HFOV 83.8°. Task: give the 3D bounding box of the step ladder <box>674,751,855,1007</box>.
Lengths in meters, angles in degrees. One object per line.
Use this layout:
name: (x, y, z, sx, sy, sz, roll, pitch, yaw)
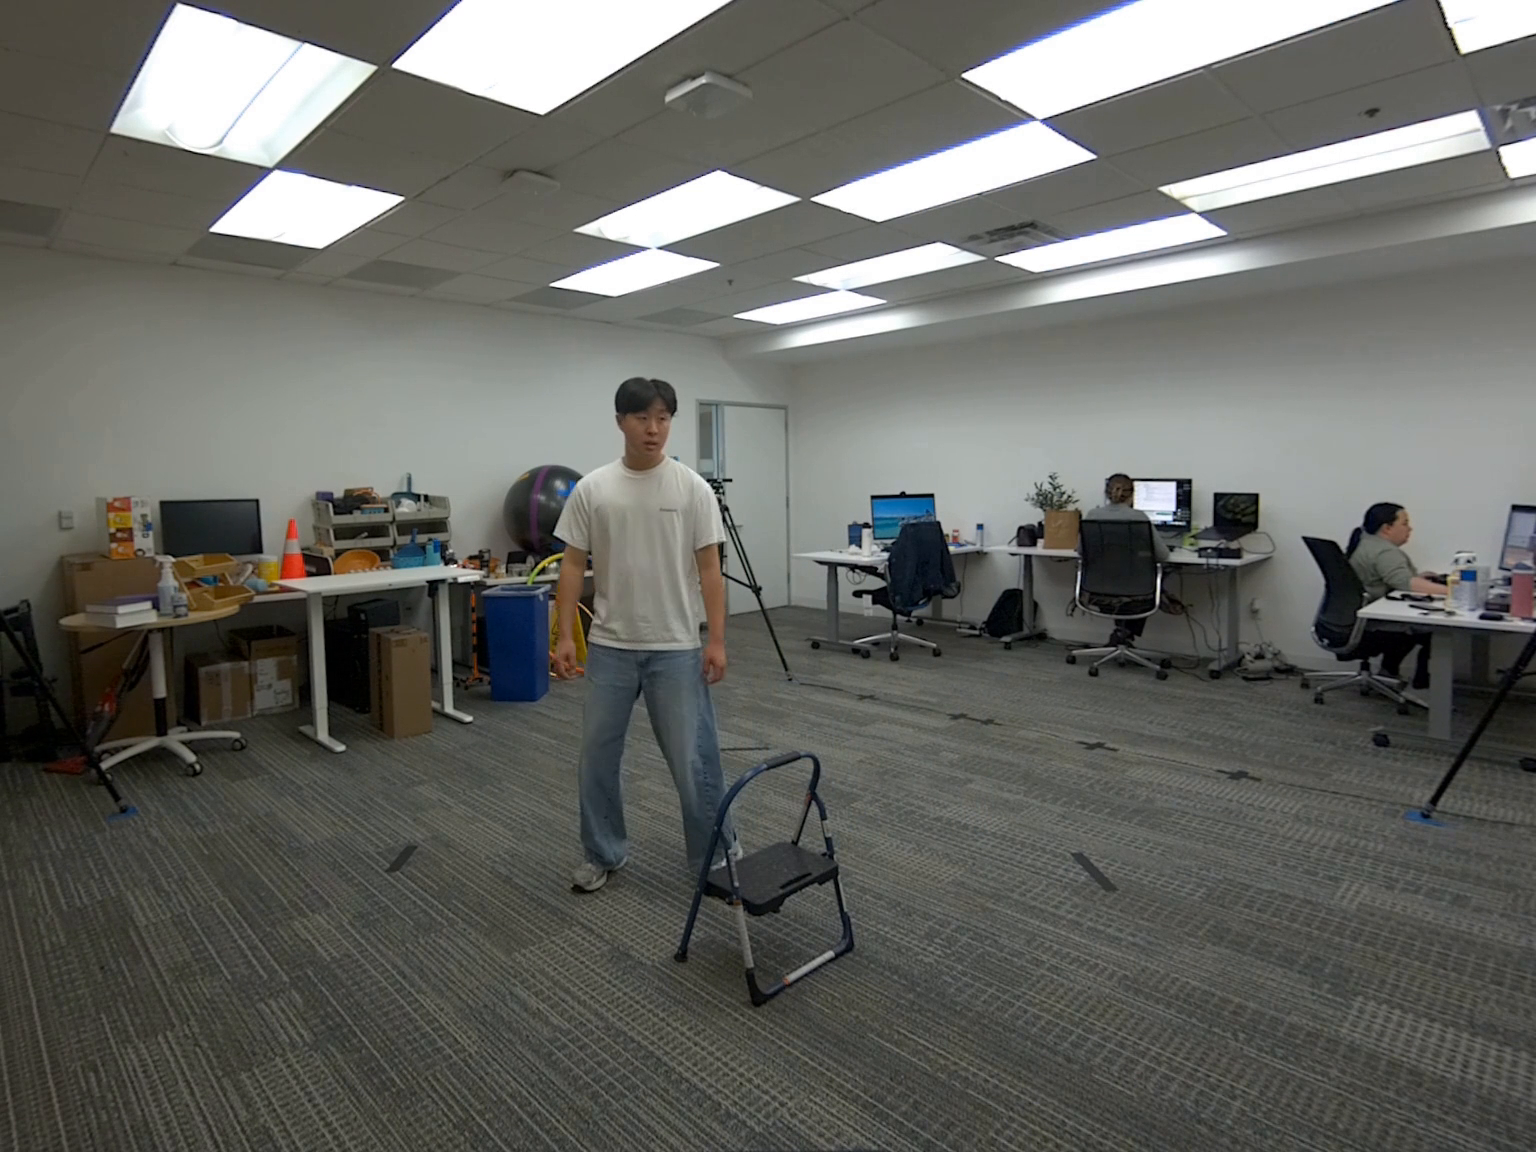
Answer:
step ladder: (-0.009, 0.810, 2.503, 0.360, 0.604, 0.419, 3, 6, 45)
